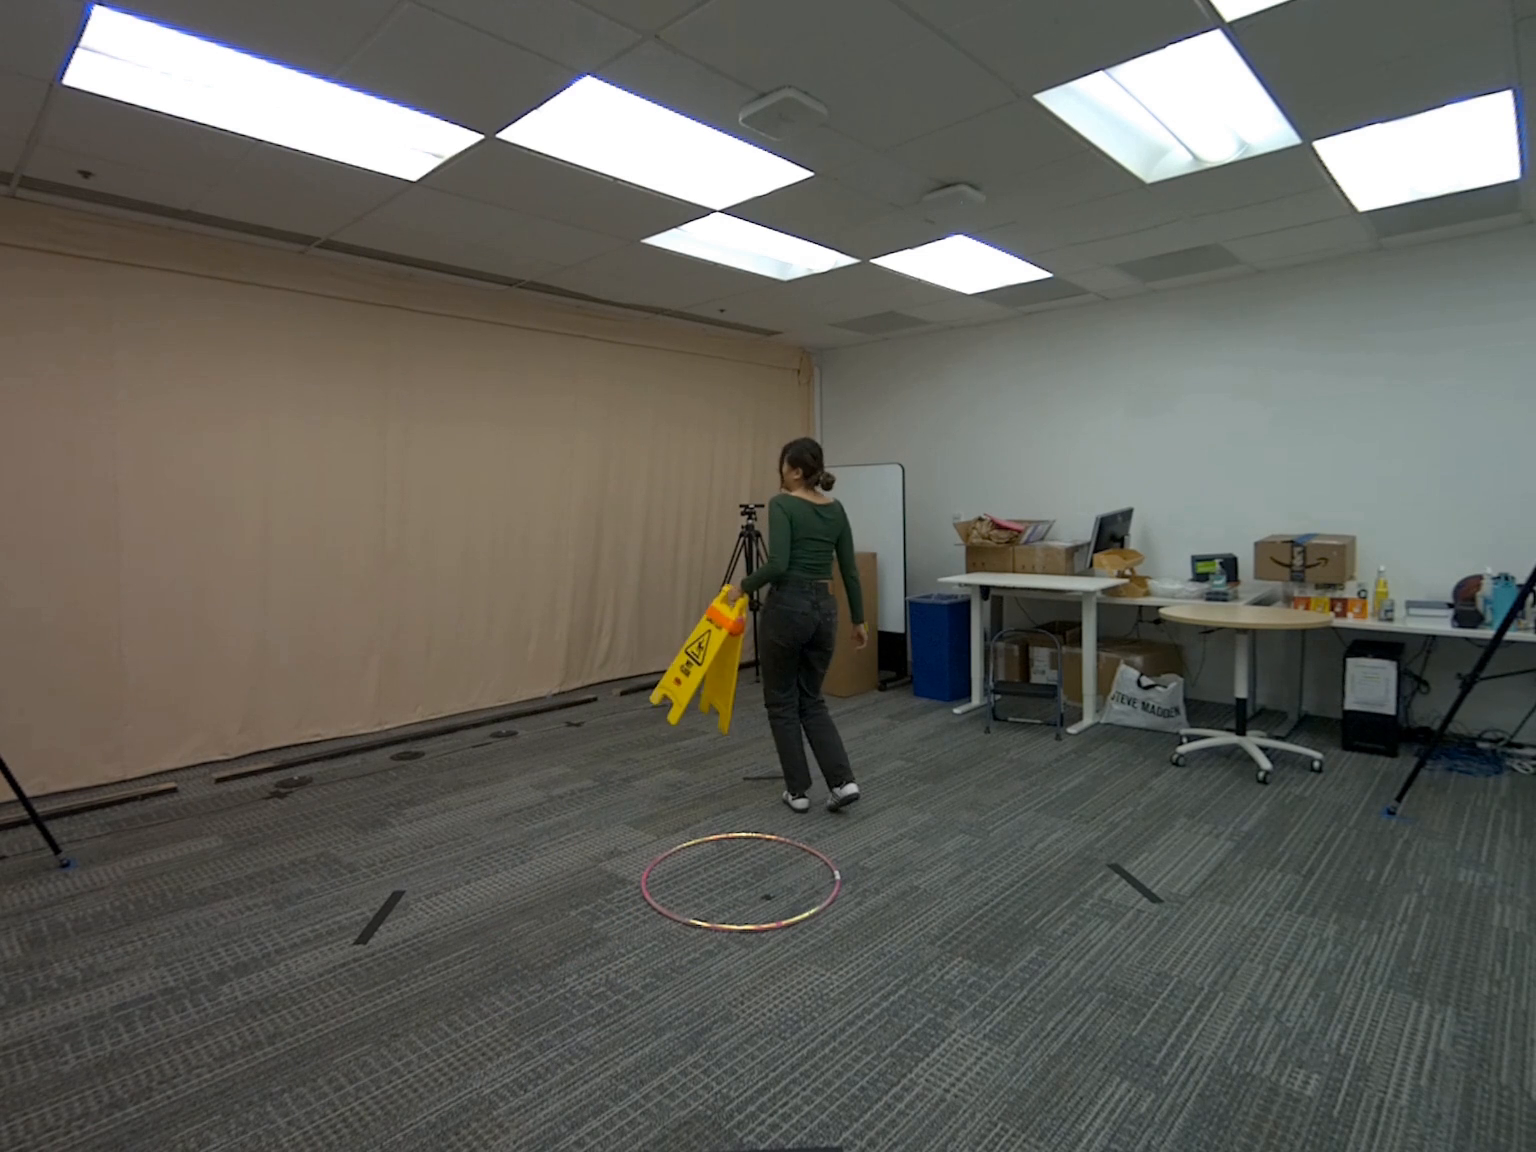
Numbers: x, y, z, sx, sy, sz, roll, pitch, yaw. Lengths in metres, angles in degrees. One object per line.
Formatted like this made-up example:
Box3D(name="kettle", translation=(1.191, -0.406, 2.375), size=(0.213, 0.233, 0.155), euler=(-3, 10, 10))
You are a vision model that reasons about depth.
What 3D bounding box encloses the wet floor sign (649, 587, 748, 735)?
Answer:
Box3D(name="wet floor sign", translation=(-0.232, 0.356, 3.902), size=(0.280, 0.645, 0.292), euler=(18, 7, -34))
